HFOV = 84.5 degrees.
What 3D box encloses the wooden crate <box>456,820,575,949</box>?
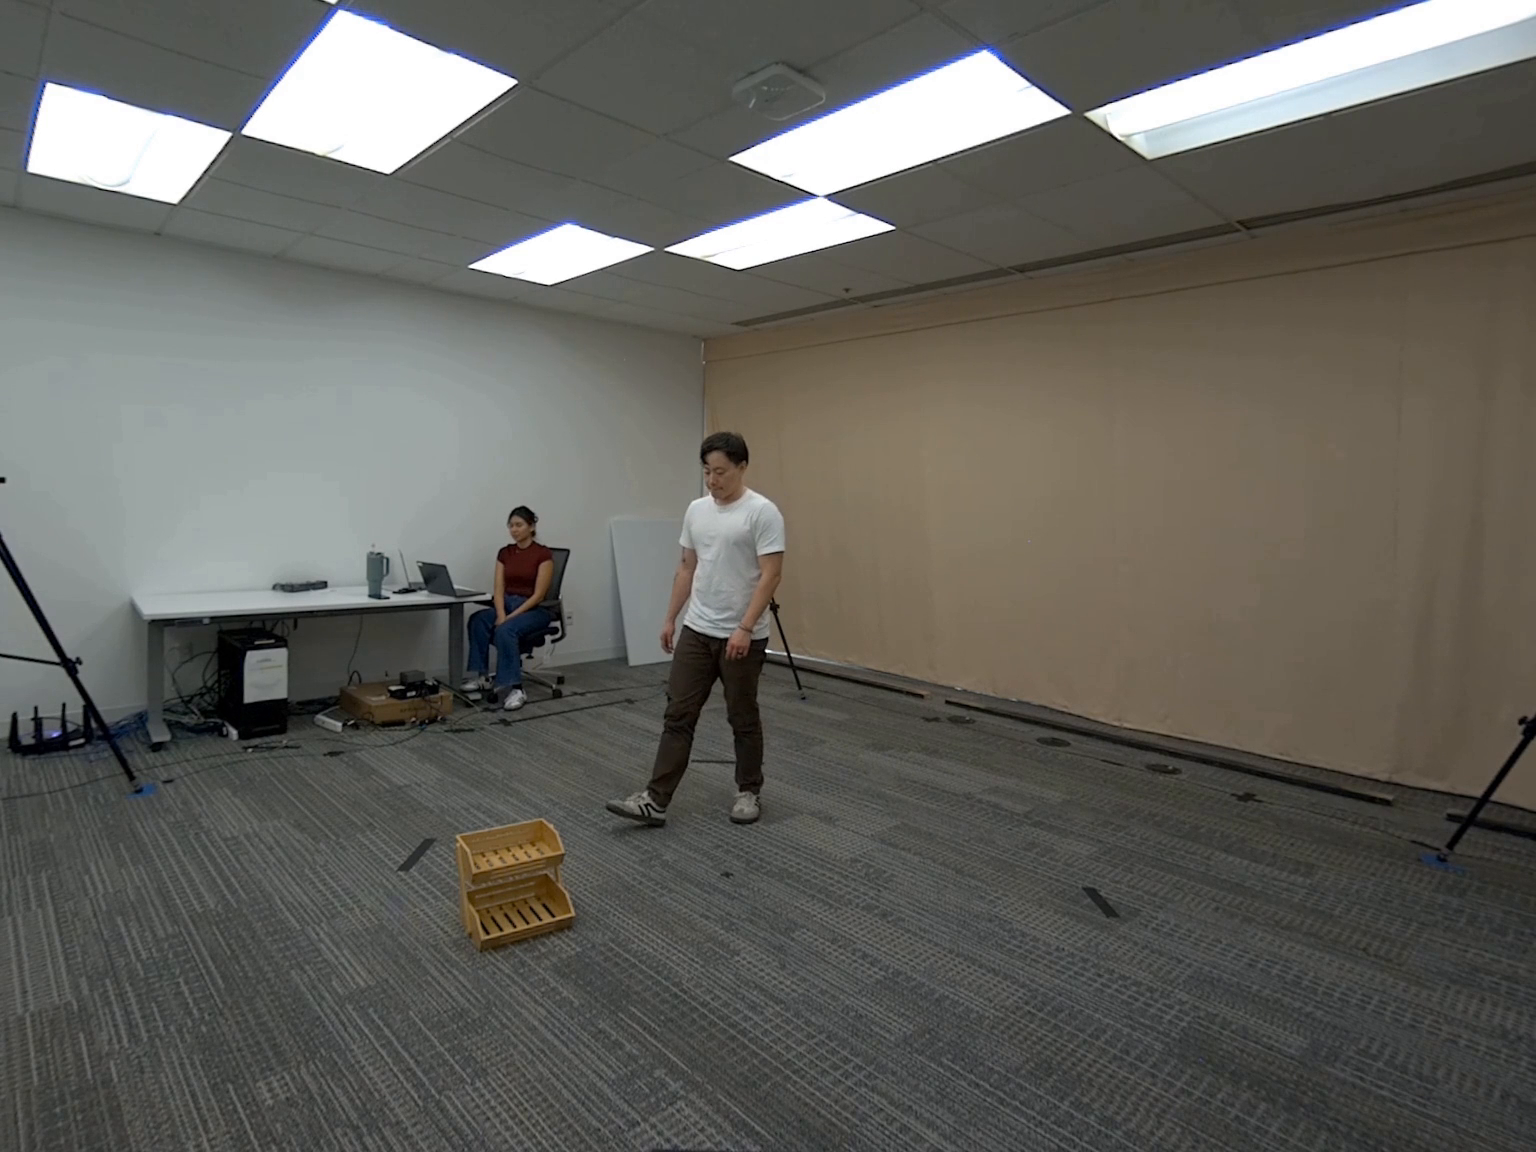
[{"bbox_3d":[-0.828,0.991,2.724,0.317,0.272,0.309,-1,5,-35],"label":"wooden crate"}]
